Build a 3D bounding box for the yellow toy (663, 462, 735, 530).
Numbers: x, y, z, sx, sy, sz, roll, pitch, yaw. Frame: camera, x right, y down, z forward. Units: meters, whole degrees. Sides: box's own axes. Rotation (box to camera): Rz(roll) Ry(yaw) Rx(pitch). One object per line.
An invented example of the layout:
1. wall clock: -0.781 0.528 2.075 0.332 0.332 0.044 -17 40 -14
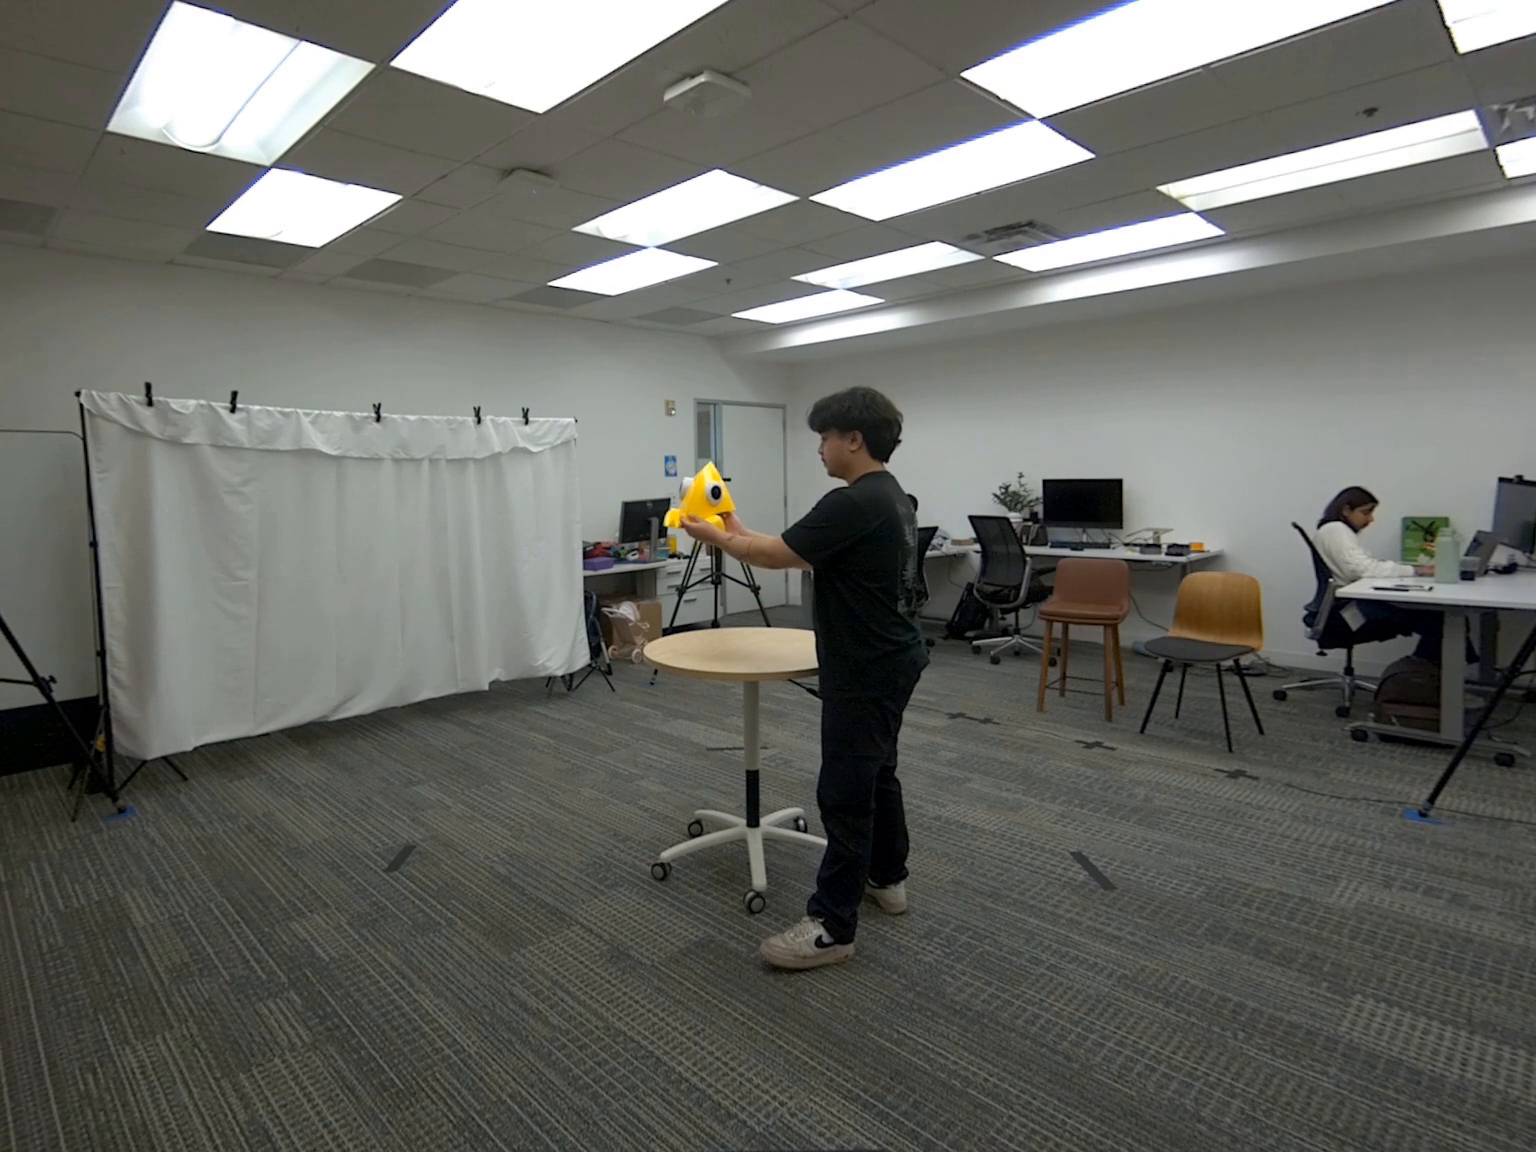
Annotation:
1. yellow toy: -0.227 -0.271 2.852 0.209 0.230 0.189 9 5 20
